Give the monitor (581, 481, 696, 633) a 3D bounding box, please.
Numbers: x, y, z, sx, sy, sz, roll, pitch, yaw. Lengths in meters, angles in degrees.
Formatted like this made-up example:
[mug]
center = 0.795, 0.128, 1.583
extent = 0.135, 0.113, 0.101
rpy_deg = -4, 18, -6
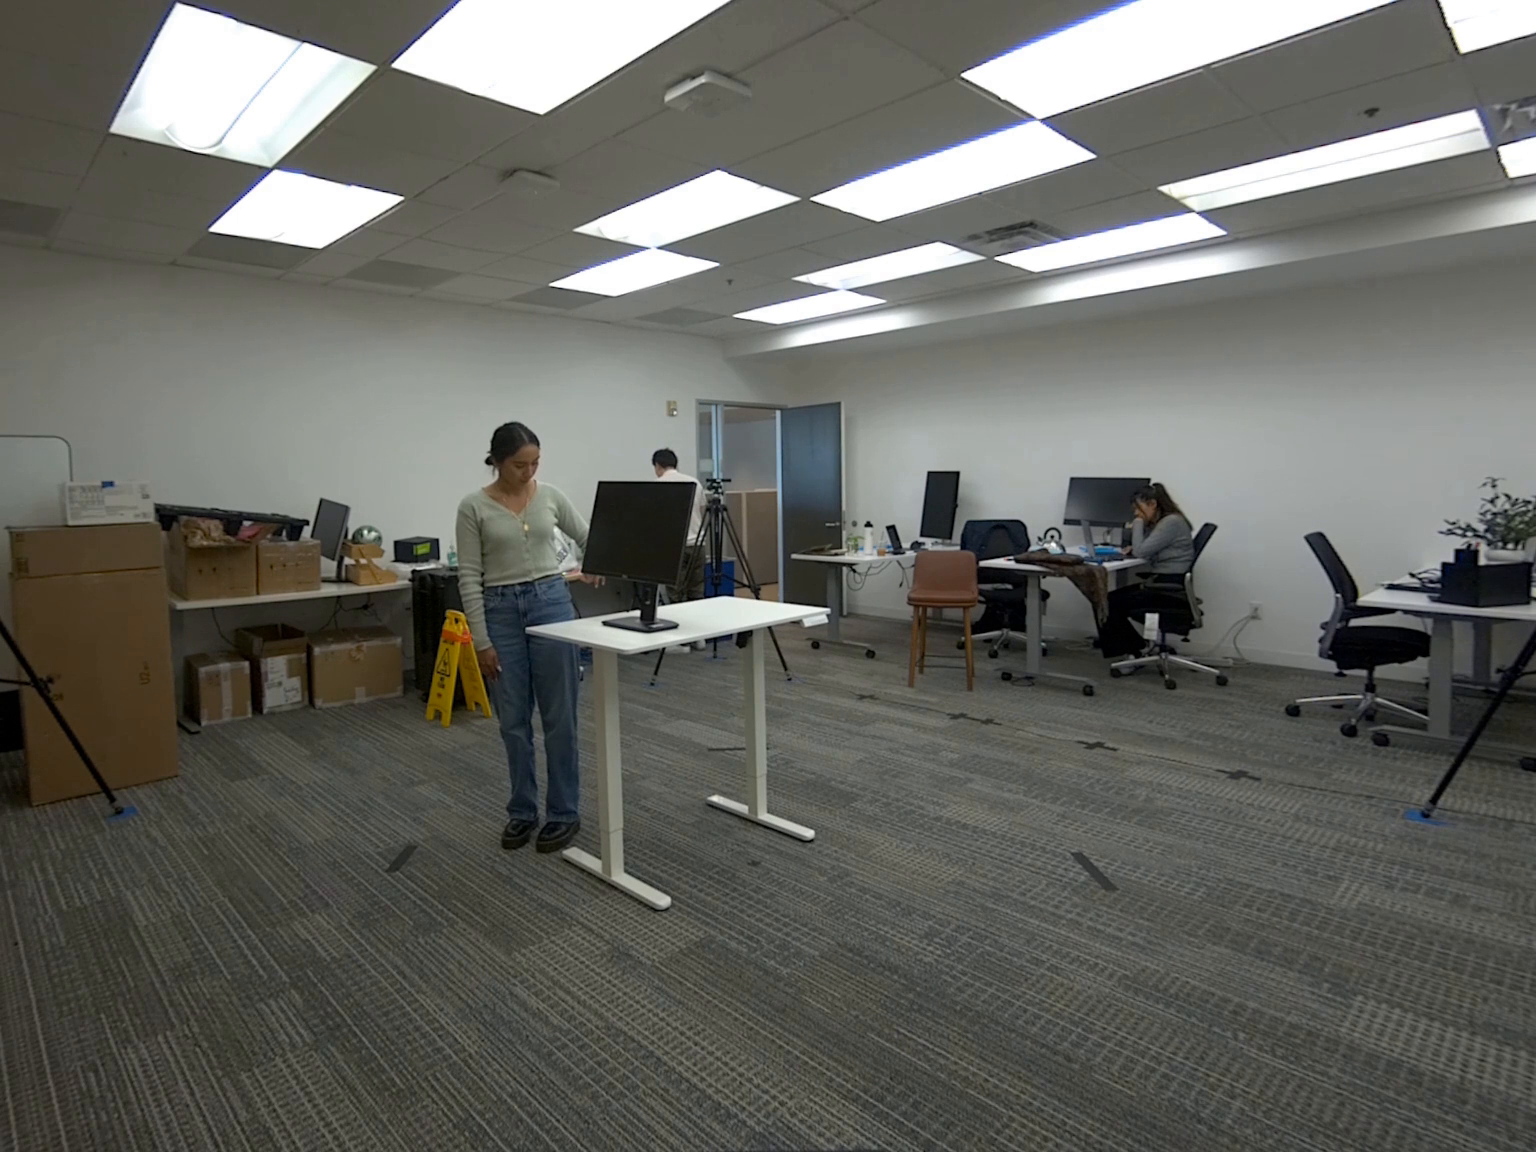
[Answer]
[monitor]
center = -0.443, -0.072, 3.030
extent = 0.556, 0.521, 0.182
rpy_deg = 5, 4, 42
